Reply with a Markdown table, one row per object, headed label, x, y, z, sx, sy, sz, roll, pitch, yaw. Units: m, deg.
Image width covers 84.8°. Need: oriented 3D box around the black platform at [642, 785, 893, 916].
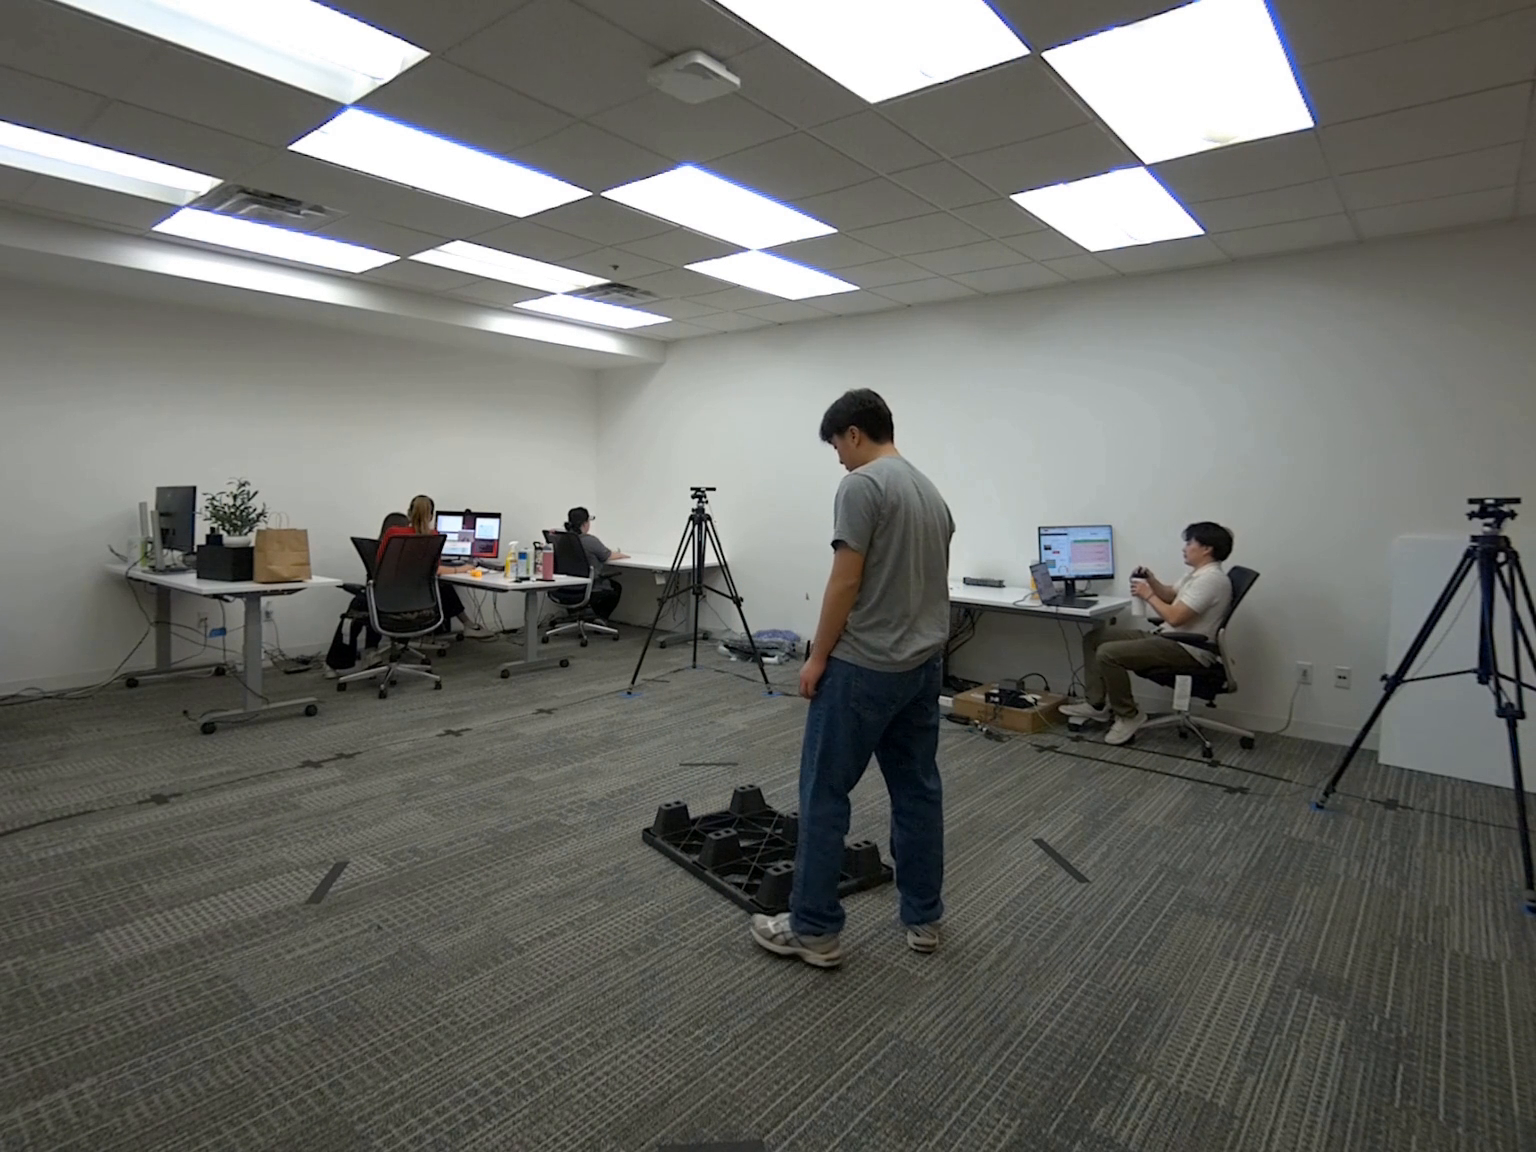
| label | x | y | z | sx | sy | sz | roll | pitch | yaw |
| --- | --- | --- | --- | --- | --- | --- | --- | --- | --- |
| black platform | -0.036 | 0.994 | 3.202 | 0.587 | 0.143 | 0.833 | -3 | 6 | -38 |
